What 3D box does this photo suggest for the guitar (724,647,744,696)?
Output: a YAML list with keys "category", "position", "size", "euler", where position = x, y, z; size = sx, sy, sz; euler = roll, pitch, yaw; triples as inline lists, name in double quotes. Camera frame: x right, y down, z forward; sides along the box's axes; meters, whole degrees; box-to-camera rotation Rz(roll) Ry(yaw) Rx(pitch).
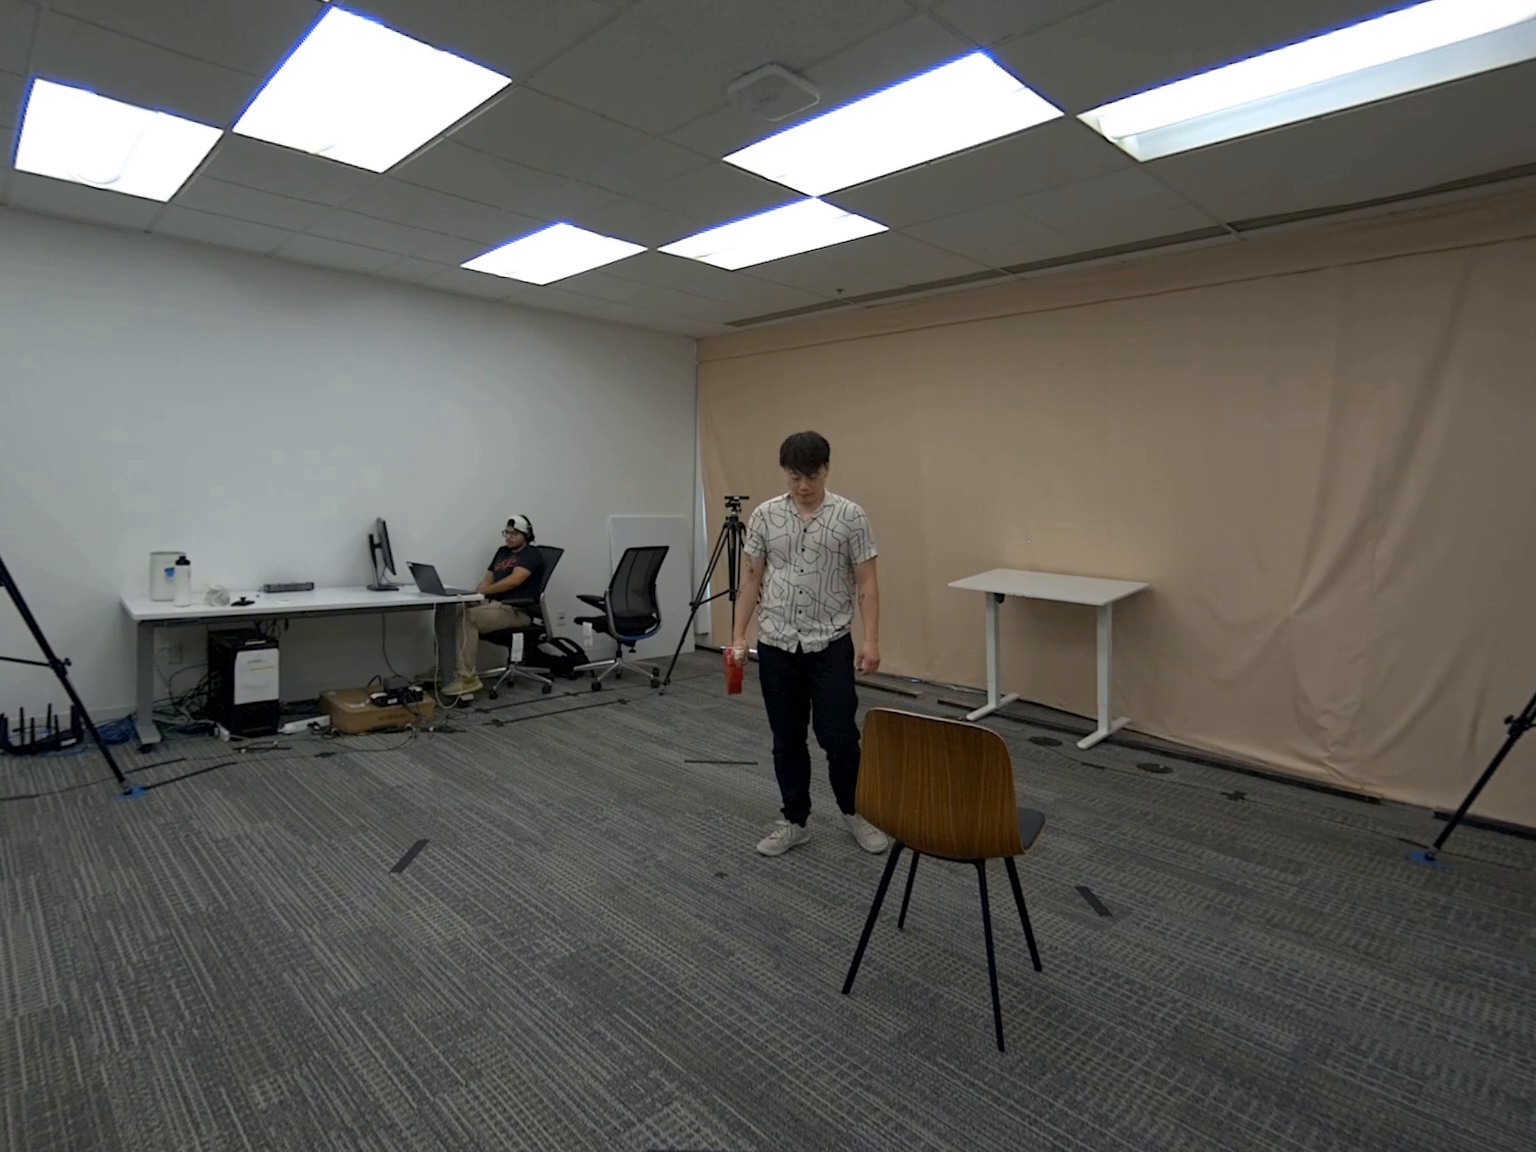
- category: "guitar"
  position: [-0.136, 0.320, 3.414]
  size: [0.070, 0.197, 0.489]
  euler: [-4, -26, -5]
